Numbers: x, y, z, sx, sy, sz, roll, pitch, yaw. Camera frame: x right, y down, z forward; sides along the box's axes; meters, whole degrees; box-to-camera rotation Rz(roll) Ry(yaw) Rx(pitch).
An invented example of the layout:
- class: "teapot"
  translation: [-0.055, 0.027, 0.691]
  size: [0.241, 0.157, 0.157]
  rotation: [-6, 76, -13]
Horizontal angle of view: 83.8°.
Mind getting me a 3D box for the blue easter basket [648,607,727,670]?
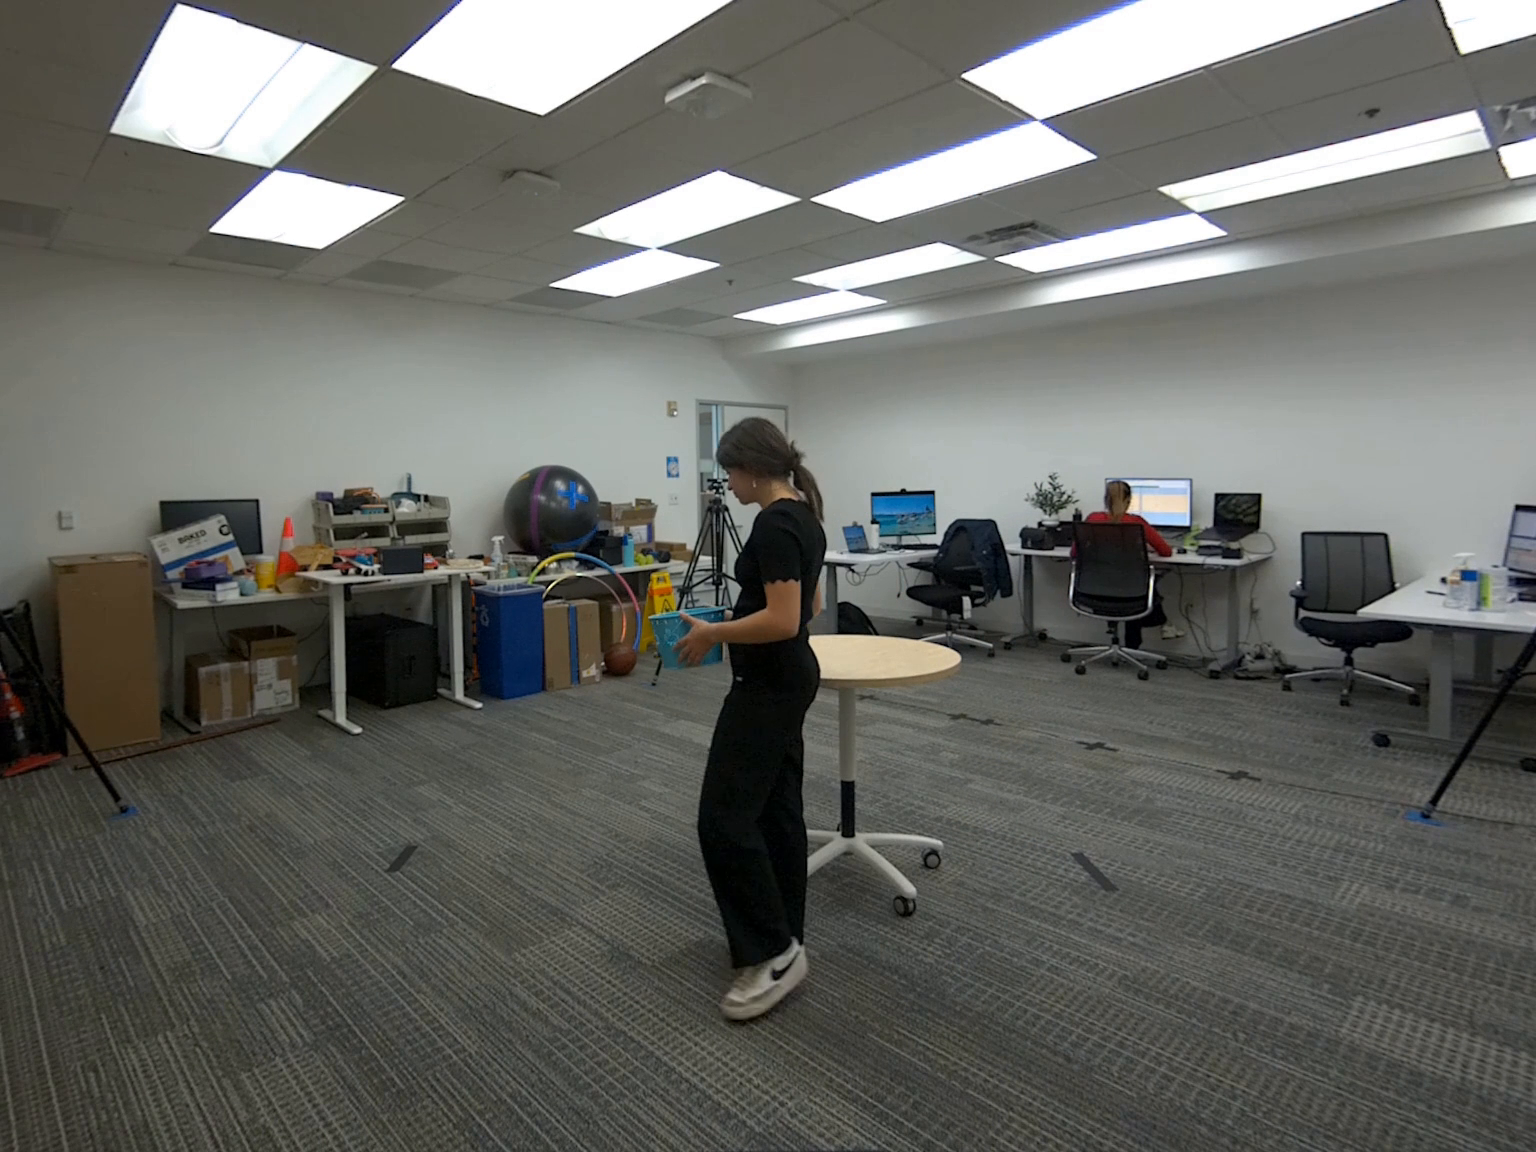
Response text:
- class: "blue easter basket"
  translation: [-0.218, 0.182, 2.485]
  size: [0.243, 0.156, 0.244]
  rotation: [-7, 2, -2]
